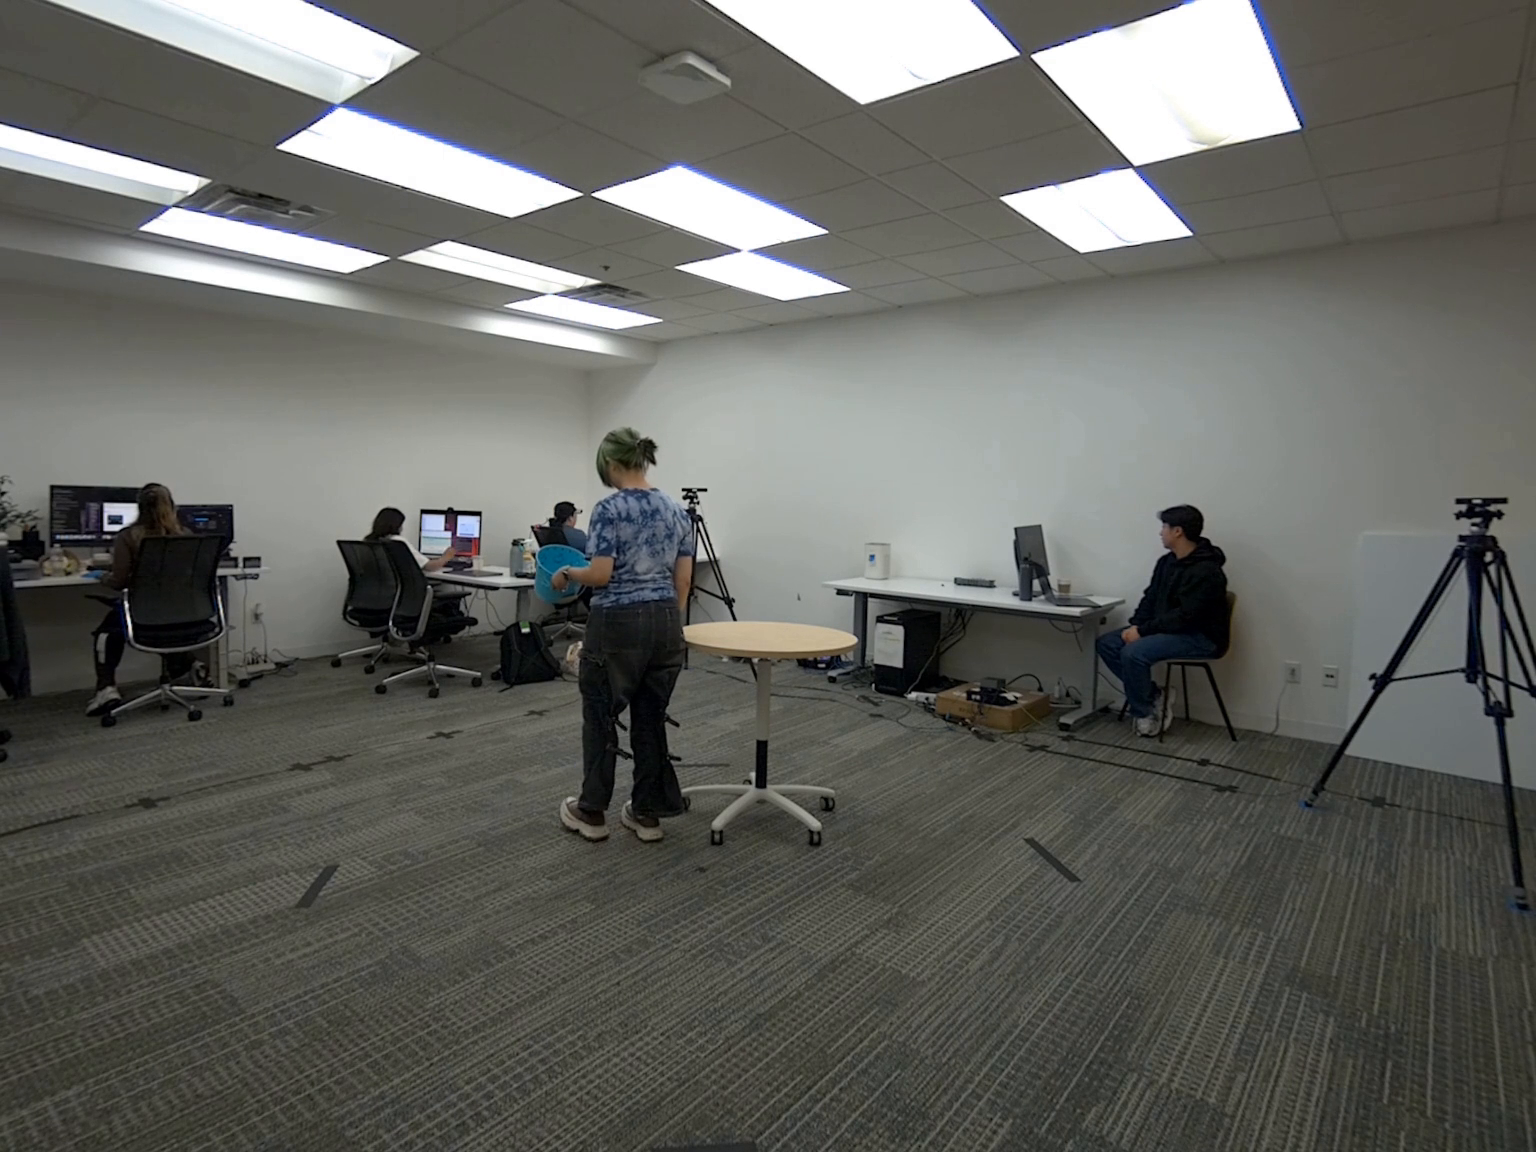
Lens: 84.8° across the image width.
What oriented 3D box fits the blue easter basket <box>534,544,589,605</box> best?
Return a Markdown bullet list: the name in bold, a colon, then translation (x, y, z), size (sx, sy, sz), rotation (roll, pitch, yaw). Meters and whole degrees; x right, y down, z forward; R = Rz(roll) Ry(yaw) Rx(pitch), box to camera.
- **blue easter basket**: translation (-0.897, 0.003, 3.563), size (0.241, 0.154, 0.250), rotation (14, 30, -10)
